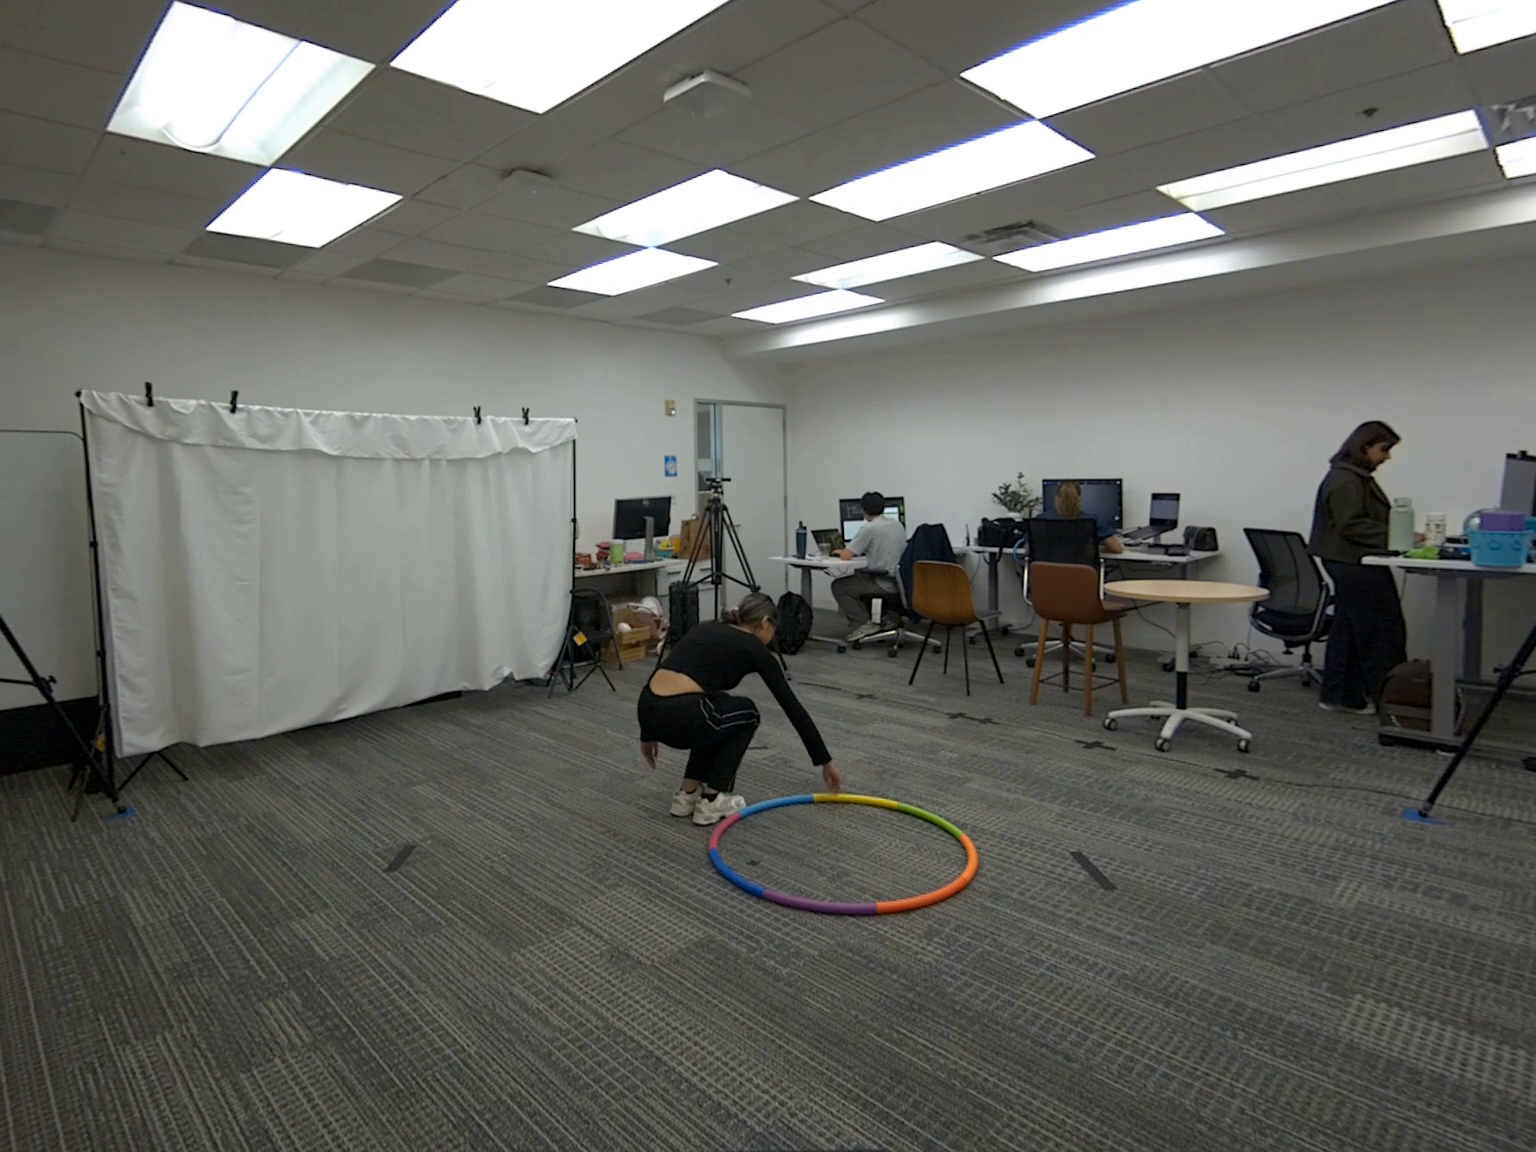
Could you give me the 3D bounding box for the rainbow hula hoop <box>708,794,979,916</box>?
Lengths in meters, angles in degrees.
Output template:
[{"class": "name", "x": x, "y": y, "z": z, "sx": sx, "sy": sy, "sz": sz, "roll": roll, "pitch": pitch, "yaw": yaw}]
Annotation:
[{"class": "rainbow hula hoop", "x": 0.266, "y": 0.992, "z": 3.196, "sx": 0.978, "sy": 0.035, "sz": 0.984, "roll": -1, "pitch": 7, "yaw": -2}]
